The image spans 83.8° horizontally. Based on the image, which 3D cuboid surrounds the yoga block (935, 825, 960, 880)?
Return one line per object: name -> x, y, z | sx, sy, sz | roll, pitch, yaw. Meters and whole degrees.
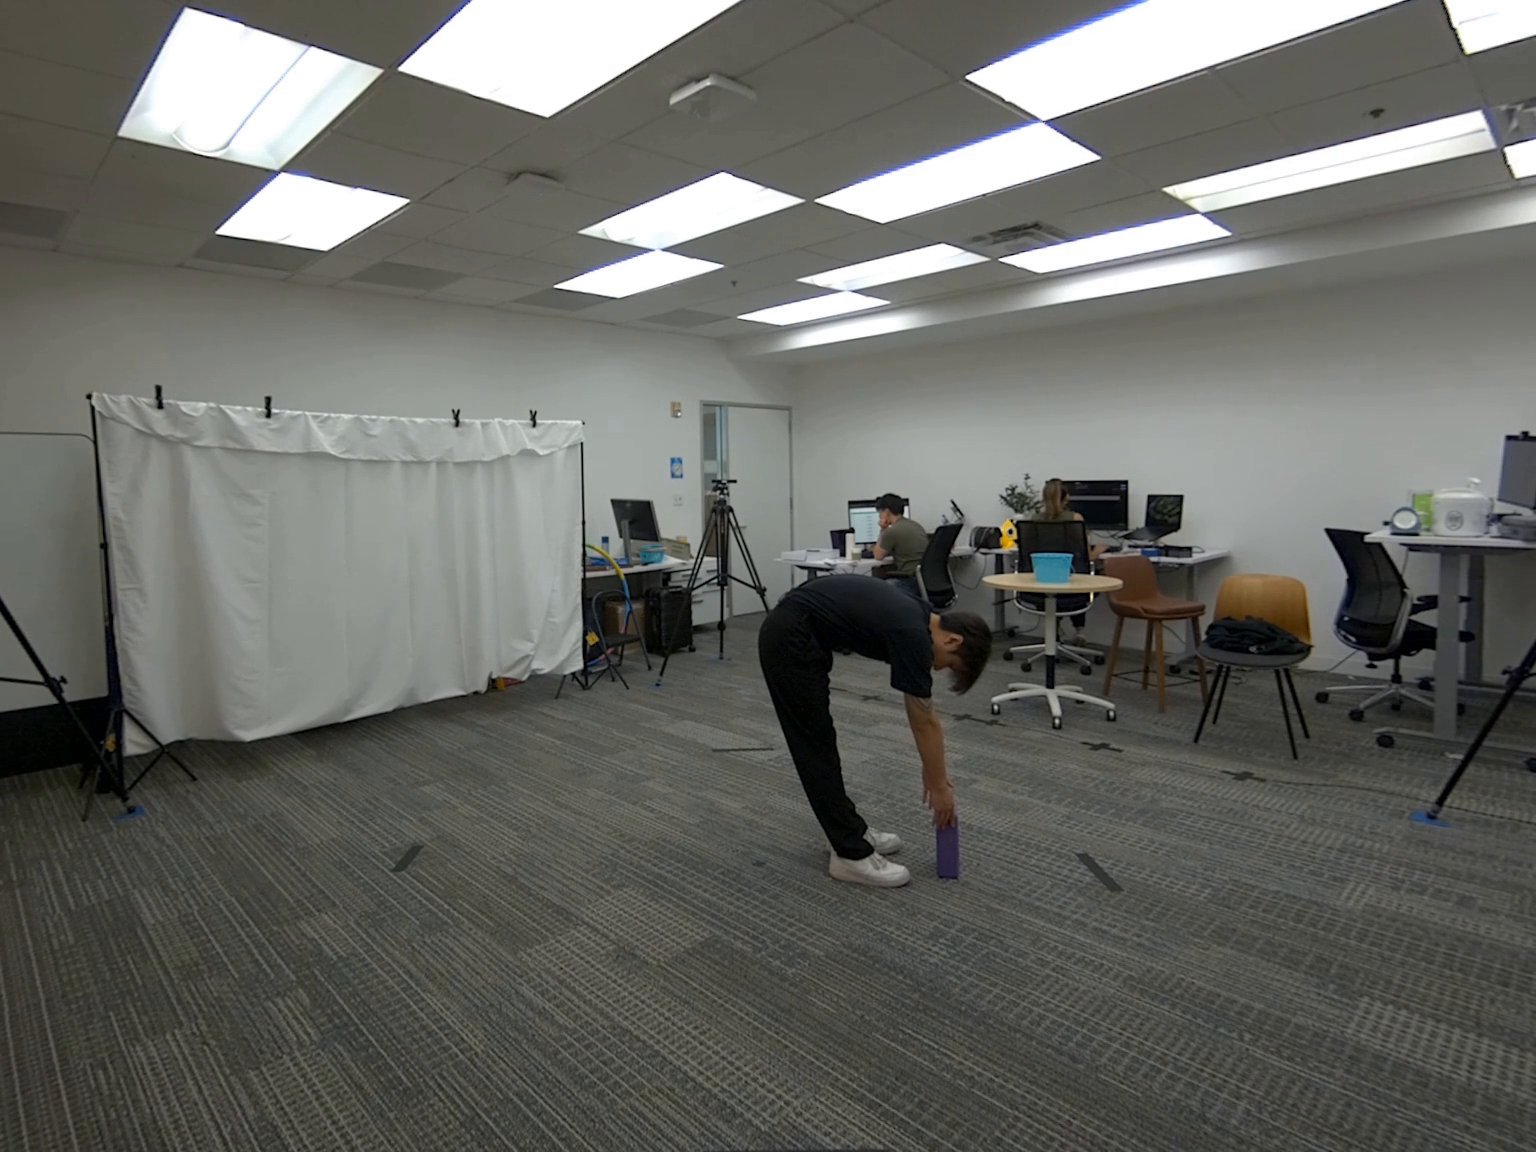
yoga block -> 0.632, 0.925, 3.024 | 0.077, 0.228, 0.148 | 0, 5, 9
